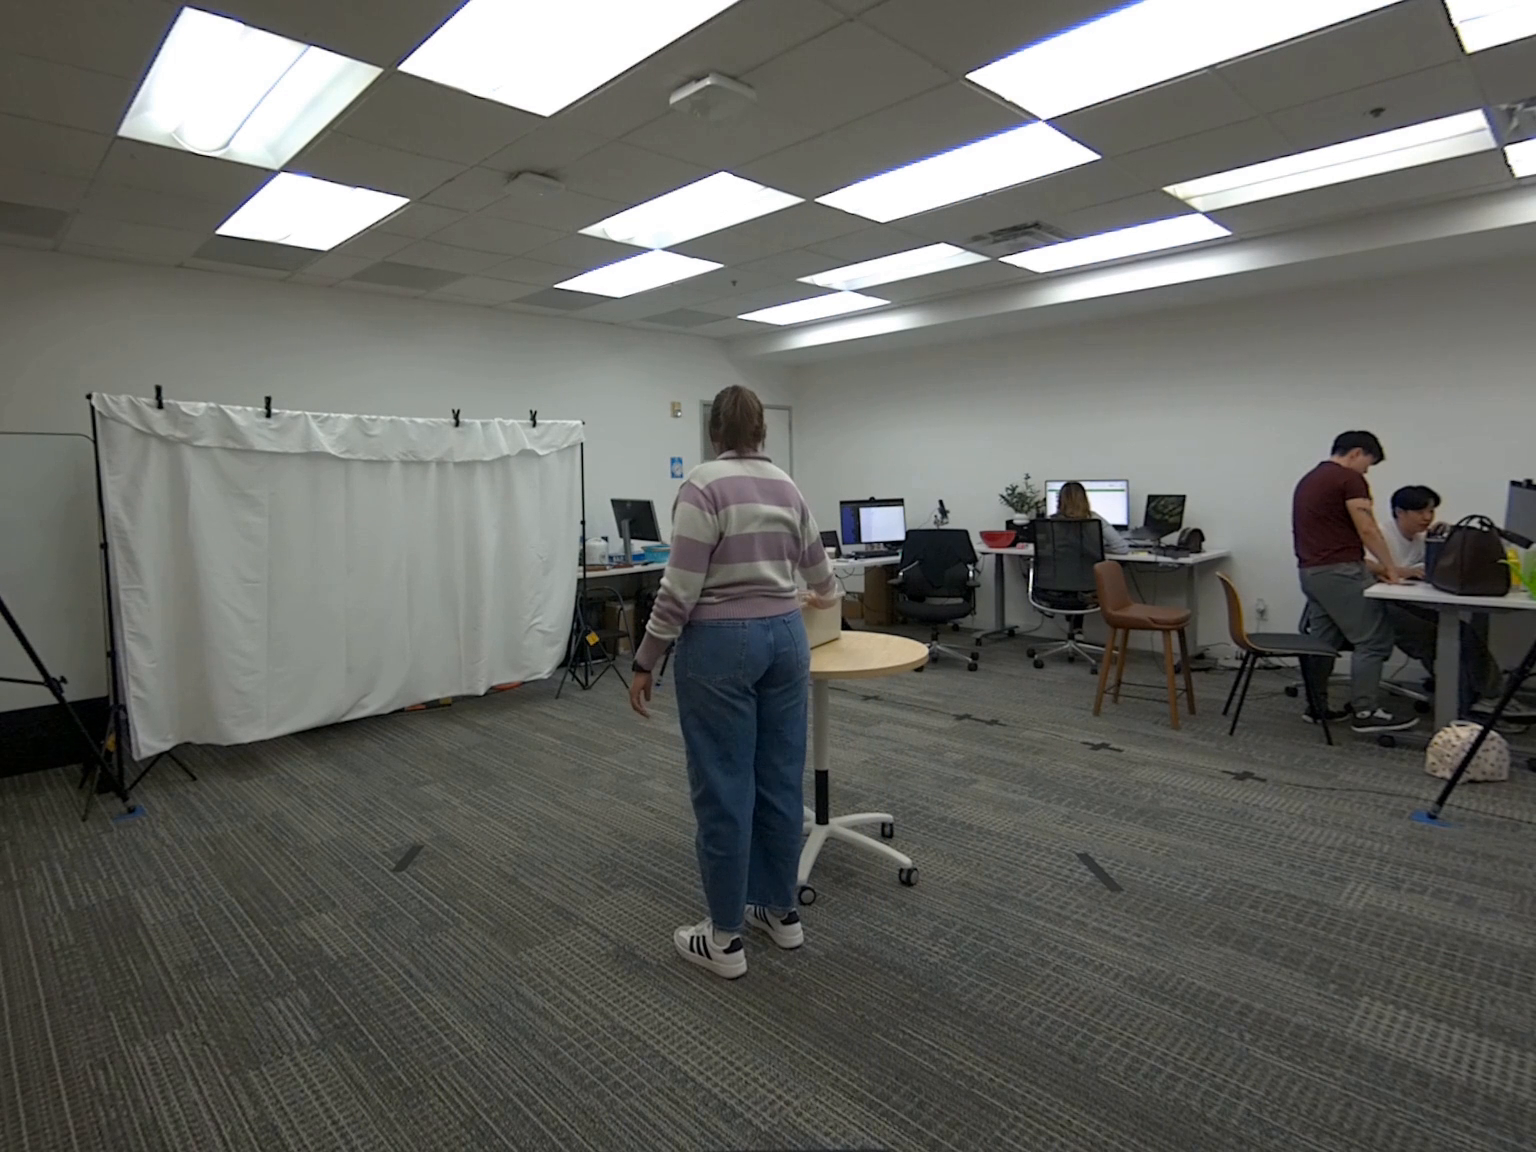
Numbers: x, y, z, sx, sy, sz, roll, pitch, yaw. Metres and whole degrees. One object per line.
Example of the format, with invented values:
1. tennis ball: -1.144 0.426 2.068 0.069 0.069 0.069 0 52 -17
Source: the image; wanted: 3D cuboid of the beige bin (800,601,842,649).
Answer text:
1. beige bin: 0.043 0.165 3.190 0.387 0.188 0.413 3 6 30
